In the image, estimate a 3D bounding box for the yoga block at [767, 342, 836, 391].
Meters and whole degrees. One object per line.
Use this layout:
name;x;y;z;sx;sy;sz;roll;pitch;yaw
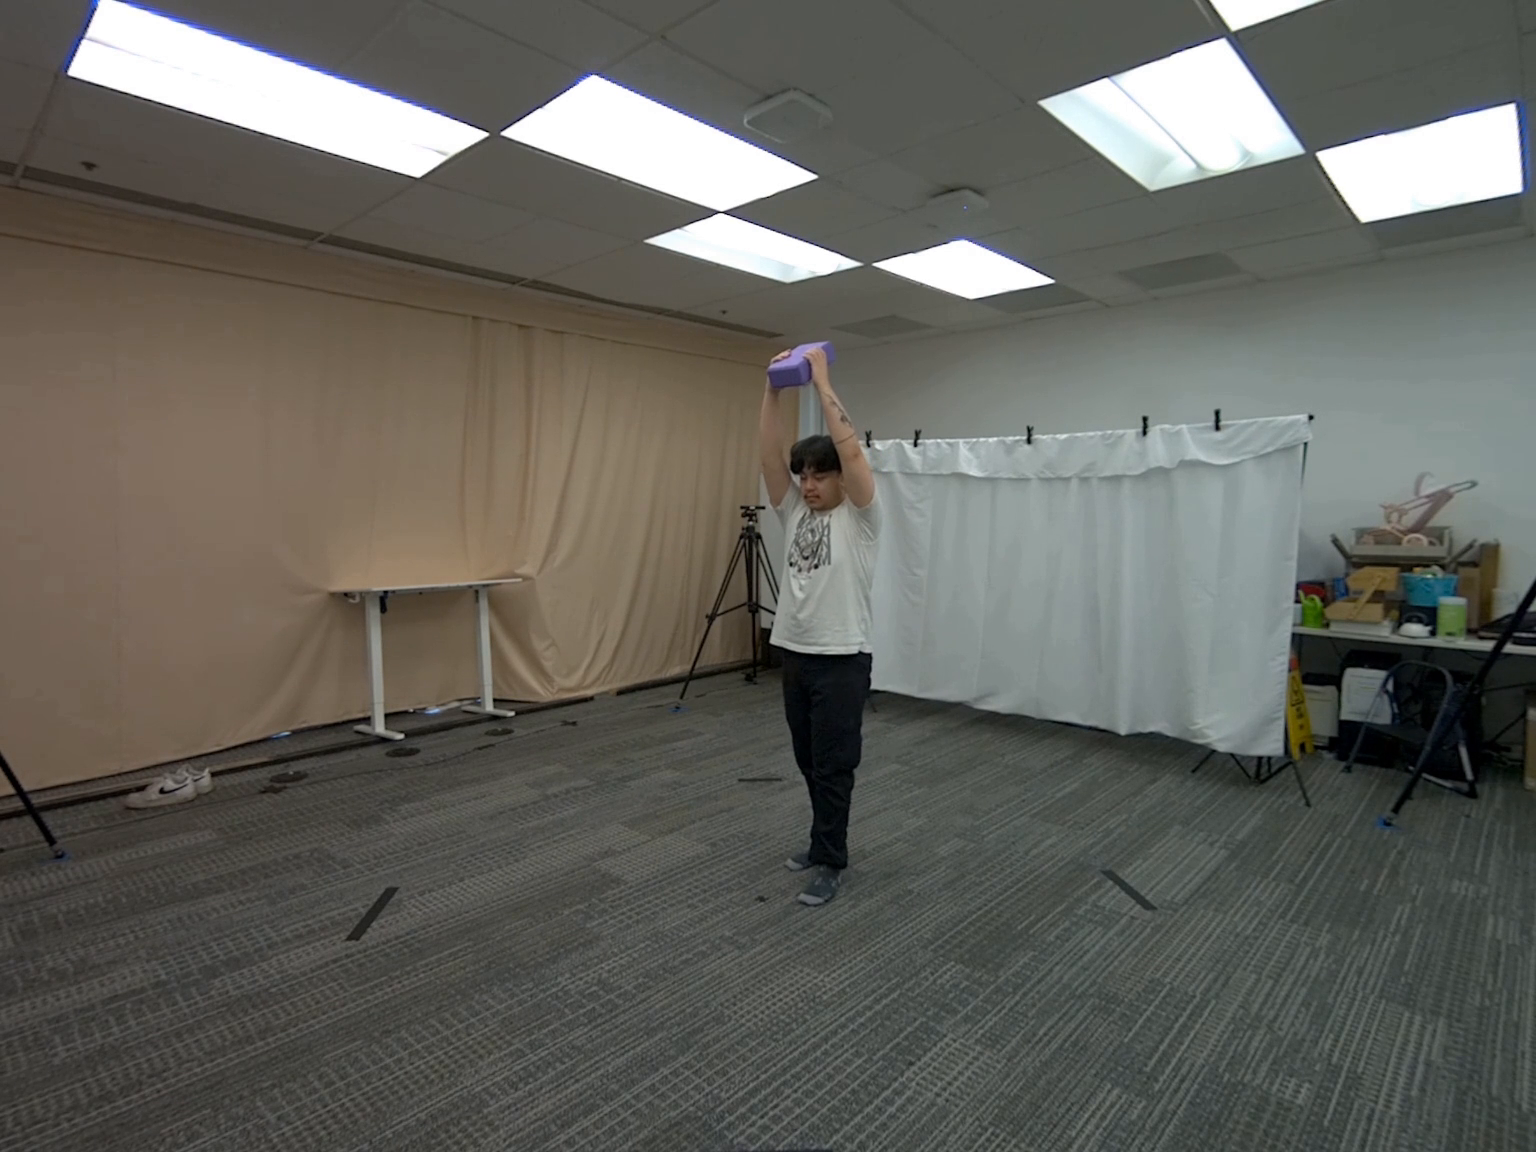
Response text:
yoga block;0.126;-0.752;3.002;0.154;0.075;0.227;6;37;41
